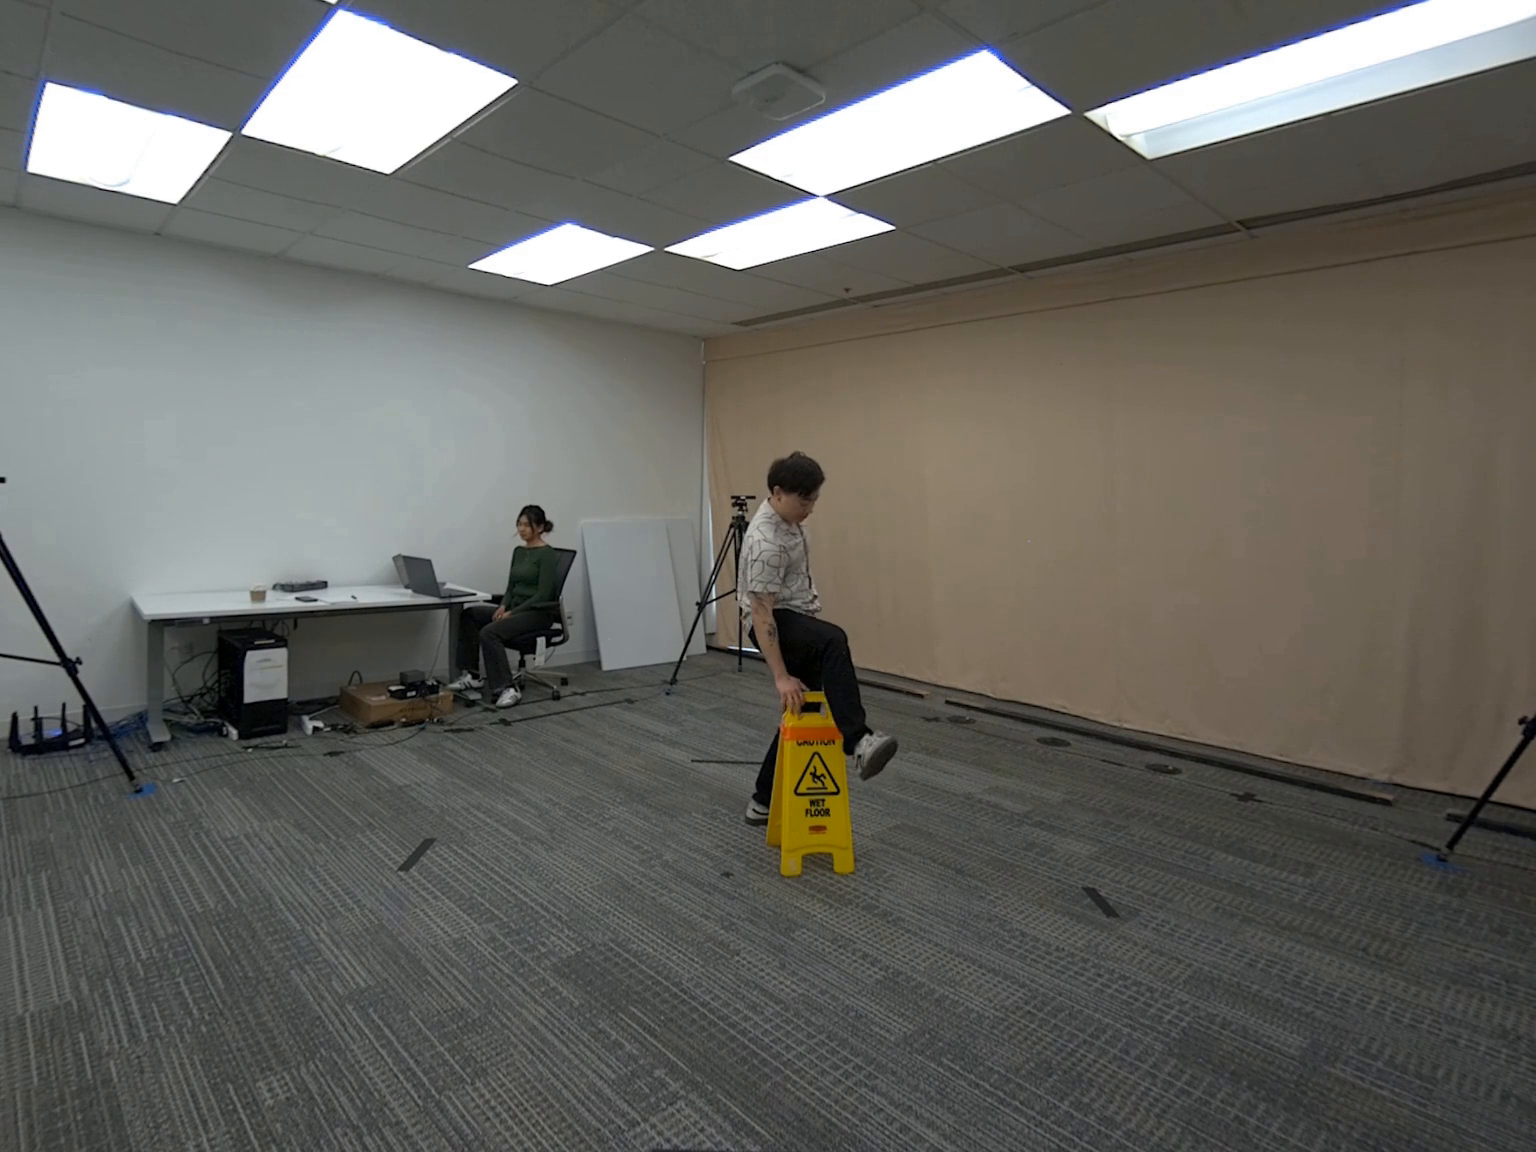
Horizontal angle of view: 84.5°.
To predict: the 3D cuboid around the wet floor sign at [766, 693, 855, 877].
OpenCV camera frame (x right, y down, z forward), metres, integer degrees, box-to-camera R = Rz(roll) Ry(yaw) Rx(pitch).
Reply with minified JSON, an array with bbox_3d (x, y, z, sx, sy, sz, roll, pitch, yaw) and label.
[{"bbox_3d":[0.153,0.768,3.250,0.280,0.645,0.293,2,2,-11],"label":"wet floor sign"}]
